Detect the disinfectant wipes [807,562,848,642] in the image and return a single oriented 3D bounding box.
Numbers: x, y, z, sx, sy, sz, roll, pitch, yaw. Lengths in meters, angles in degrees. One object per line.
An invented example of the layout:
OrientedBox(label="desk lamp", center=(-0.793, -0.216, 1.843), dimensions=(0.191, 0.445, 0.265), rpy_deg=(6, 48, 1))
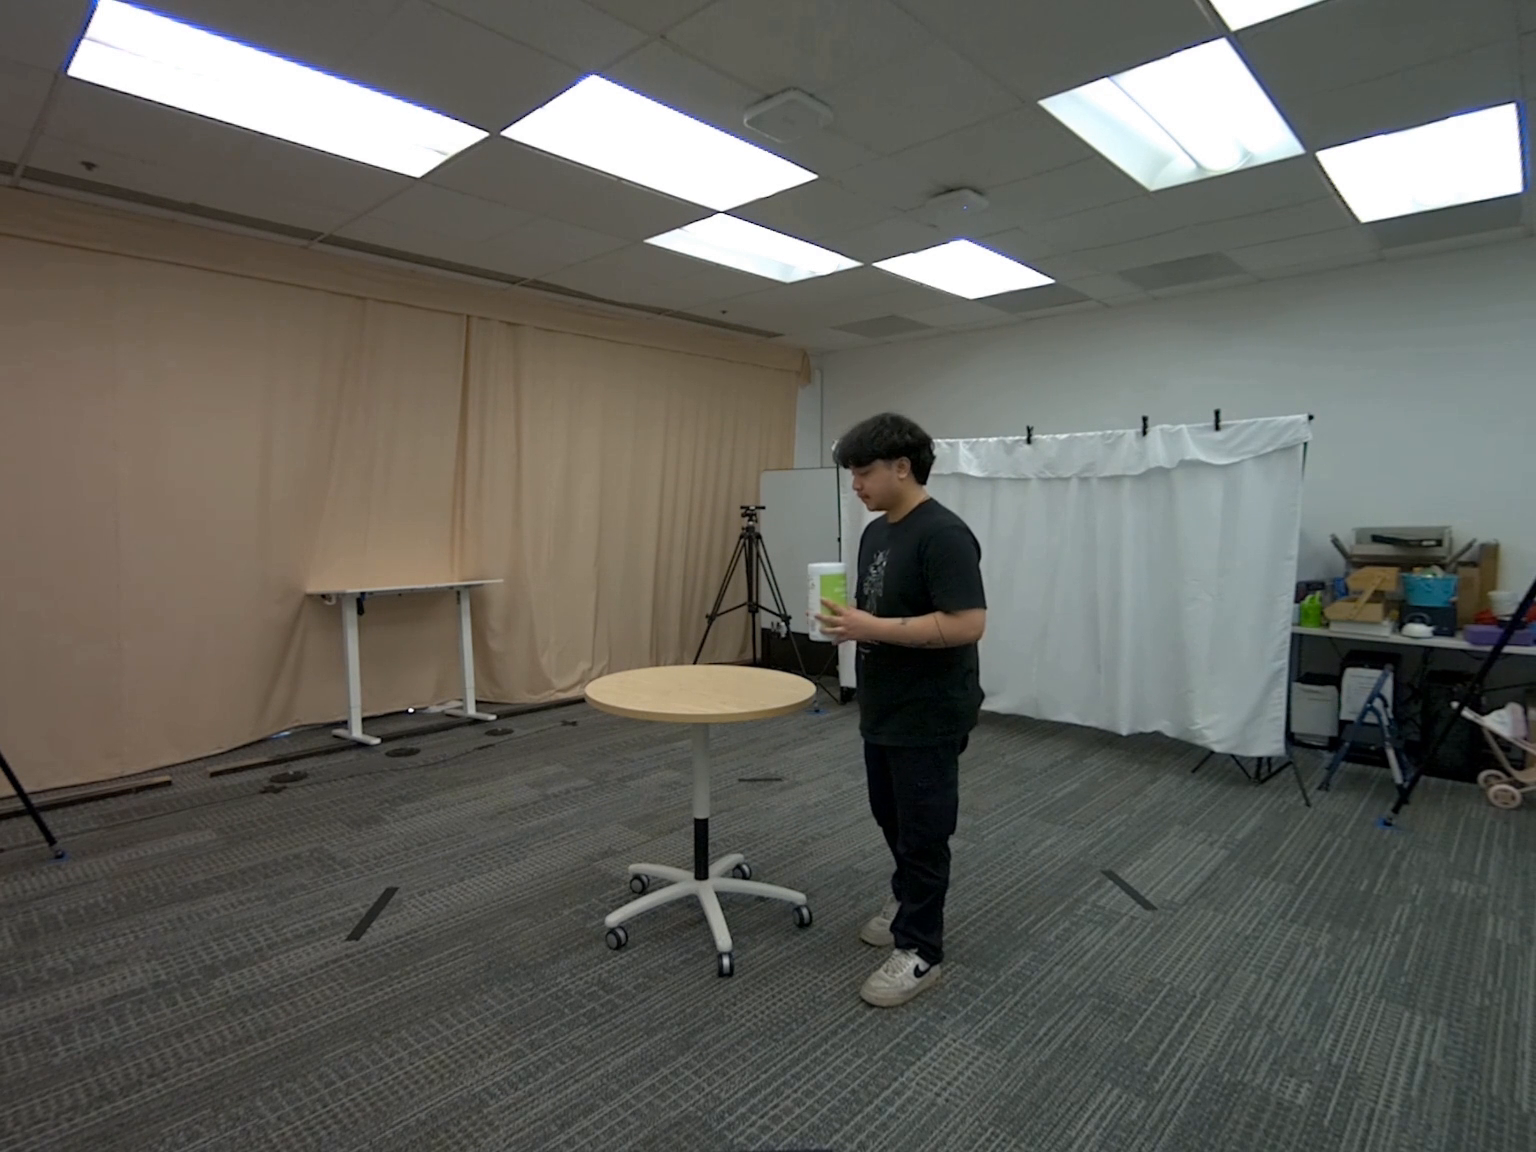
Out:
OrientedBox(label="disinfectant wipes", center=(0.179, 0.078, 2.393), dimensions=(0.118, 0.217, 0.118), rpy_deg=(1, 5, -2))
